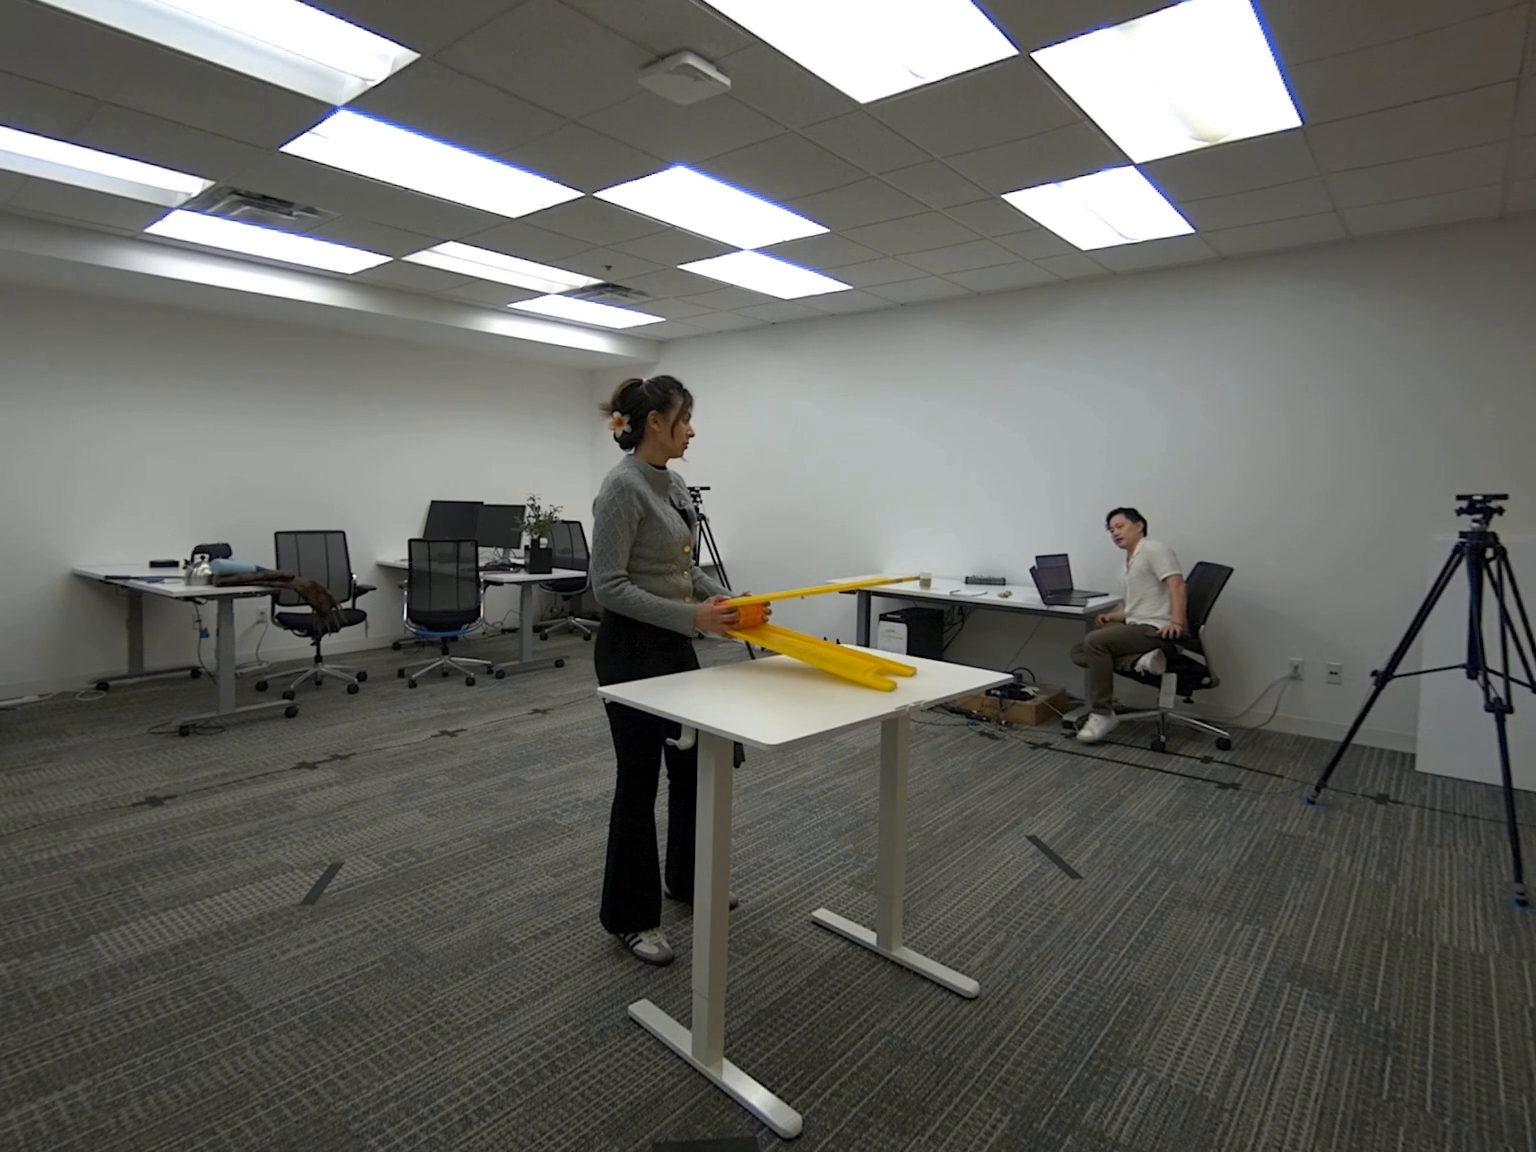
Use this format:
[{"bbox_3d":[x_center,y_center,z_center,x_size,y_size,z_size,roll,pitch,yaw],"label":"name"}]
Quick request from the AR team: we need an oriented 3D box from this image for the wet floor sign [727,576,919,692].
[{"bbox_3d":[0.082,0.121,2.426,0.664,0.289,0.275,3,3,27],"label":"wet floor sign"}]
